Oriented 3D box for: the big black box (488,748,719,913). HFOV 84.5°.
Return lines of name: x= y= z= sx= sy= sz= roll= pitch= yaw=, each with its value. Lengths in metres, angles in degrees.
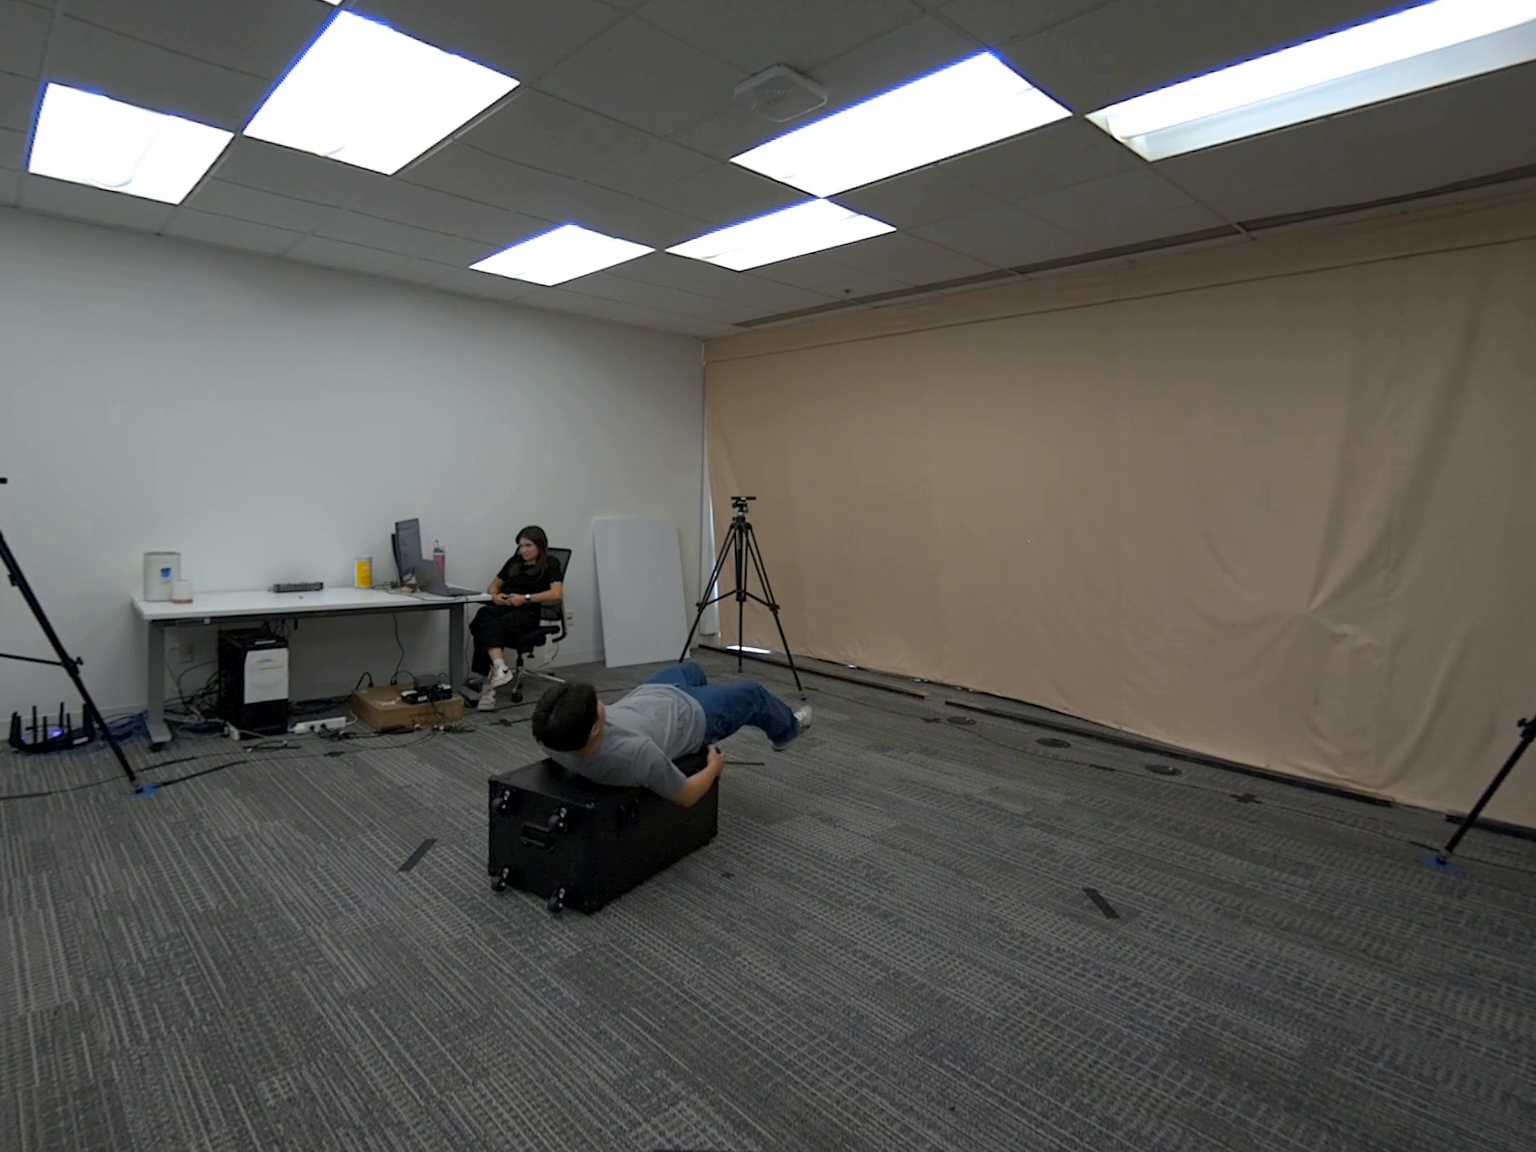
big black box: x=-0.626 y=0.904 z=3.177 sx=0.533 sy=0.395 sz=0.844 roll=5 pitch=5 yaw=30
